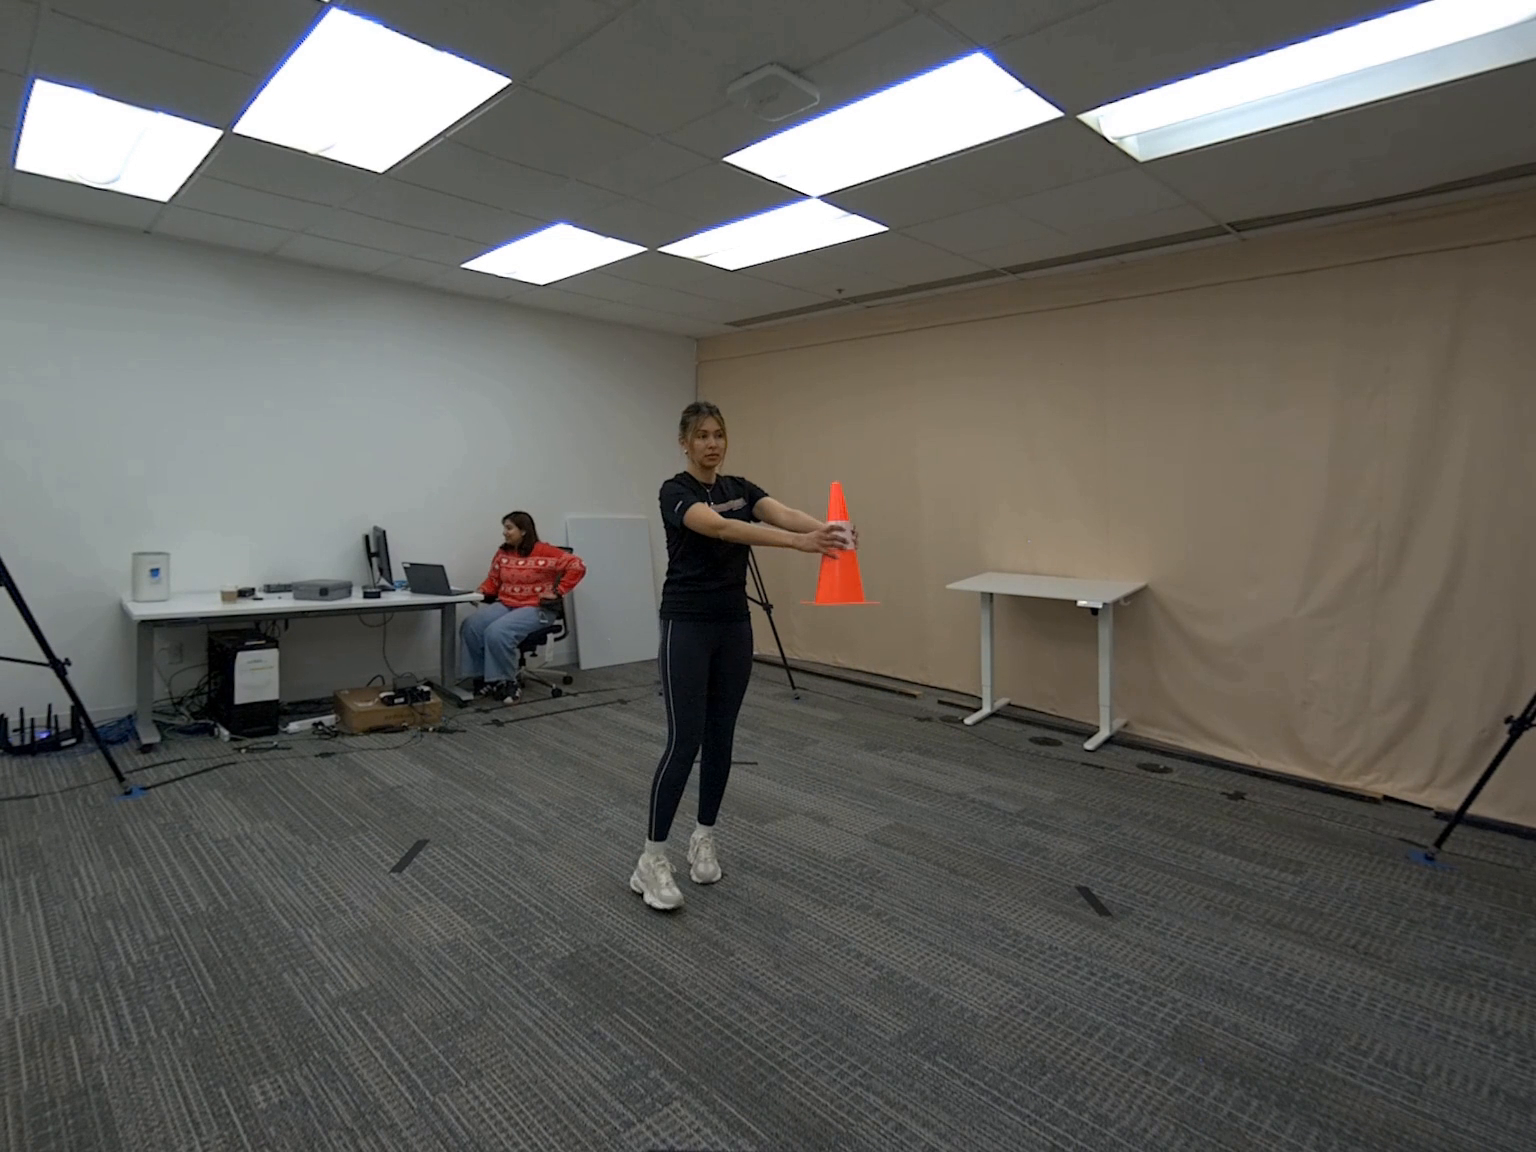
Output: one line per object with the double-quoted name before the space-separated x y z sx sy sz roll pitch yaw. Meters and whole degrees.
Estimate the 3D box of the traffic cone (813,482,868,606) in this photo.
"traffic cone" 0.214 -0.104 2.651 0.209 0.384 0.199 -4 0 33
